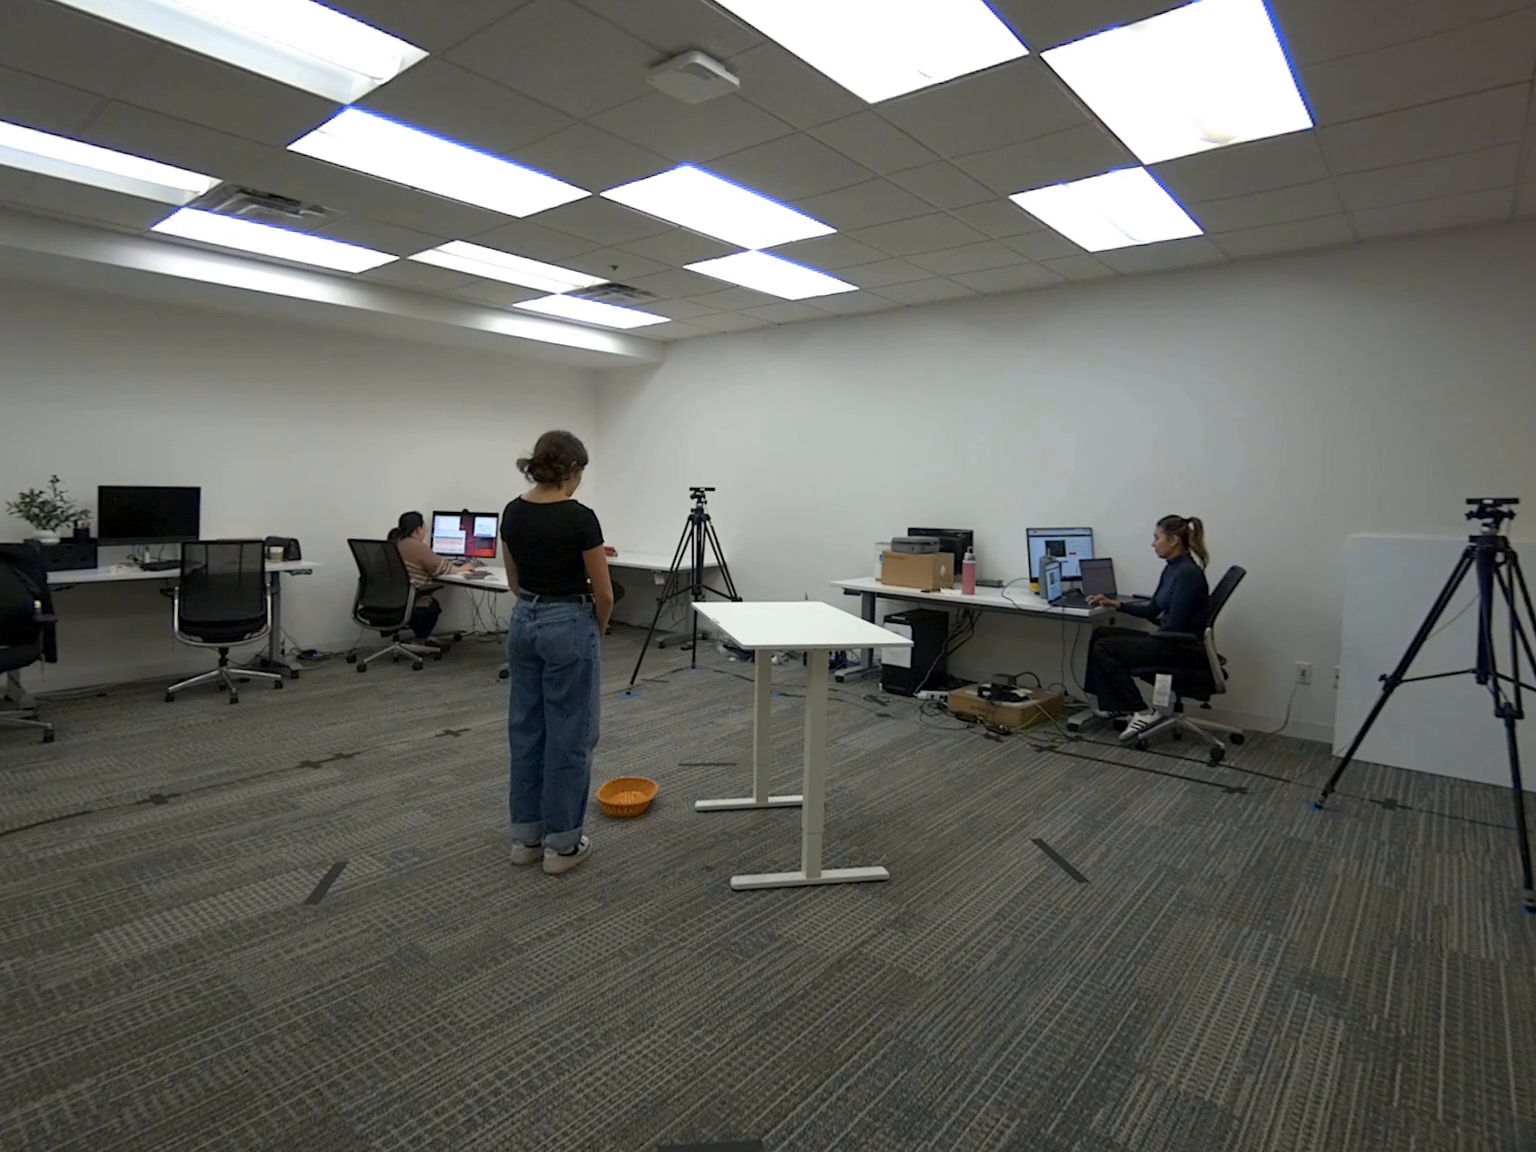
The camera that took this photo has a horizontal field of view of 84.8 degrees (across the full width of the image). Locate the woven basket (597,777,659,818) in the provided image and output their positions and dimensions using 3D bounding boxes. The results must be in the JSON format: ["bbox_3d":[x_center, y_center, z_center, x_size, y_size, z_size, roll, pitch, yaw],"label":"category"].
[{"bbox_3d":[-0.626,0.962,3.709,0.256,0.073,0.347,3,6,11],"label":"woven basket"}]
